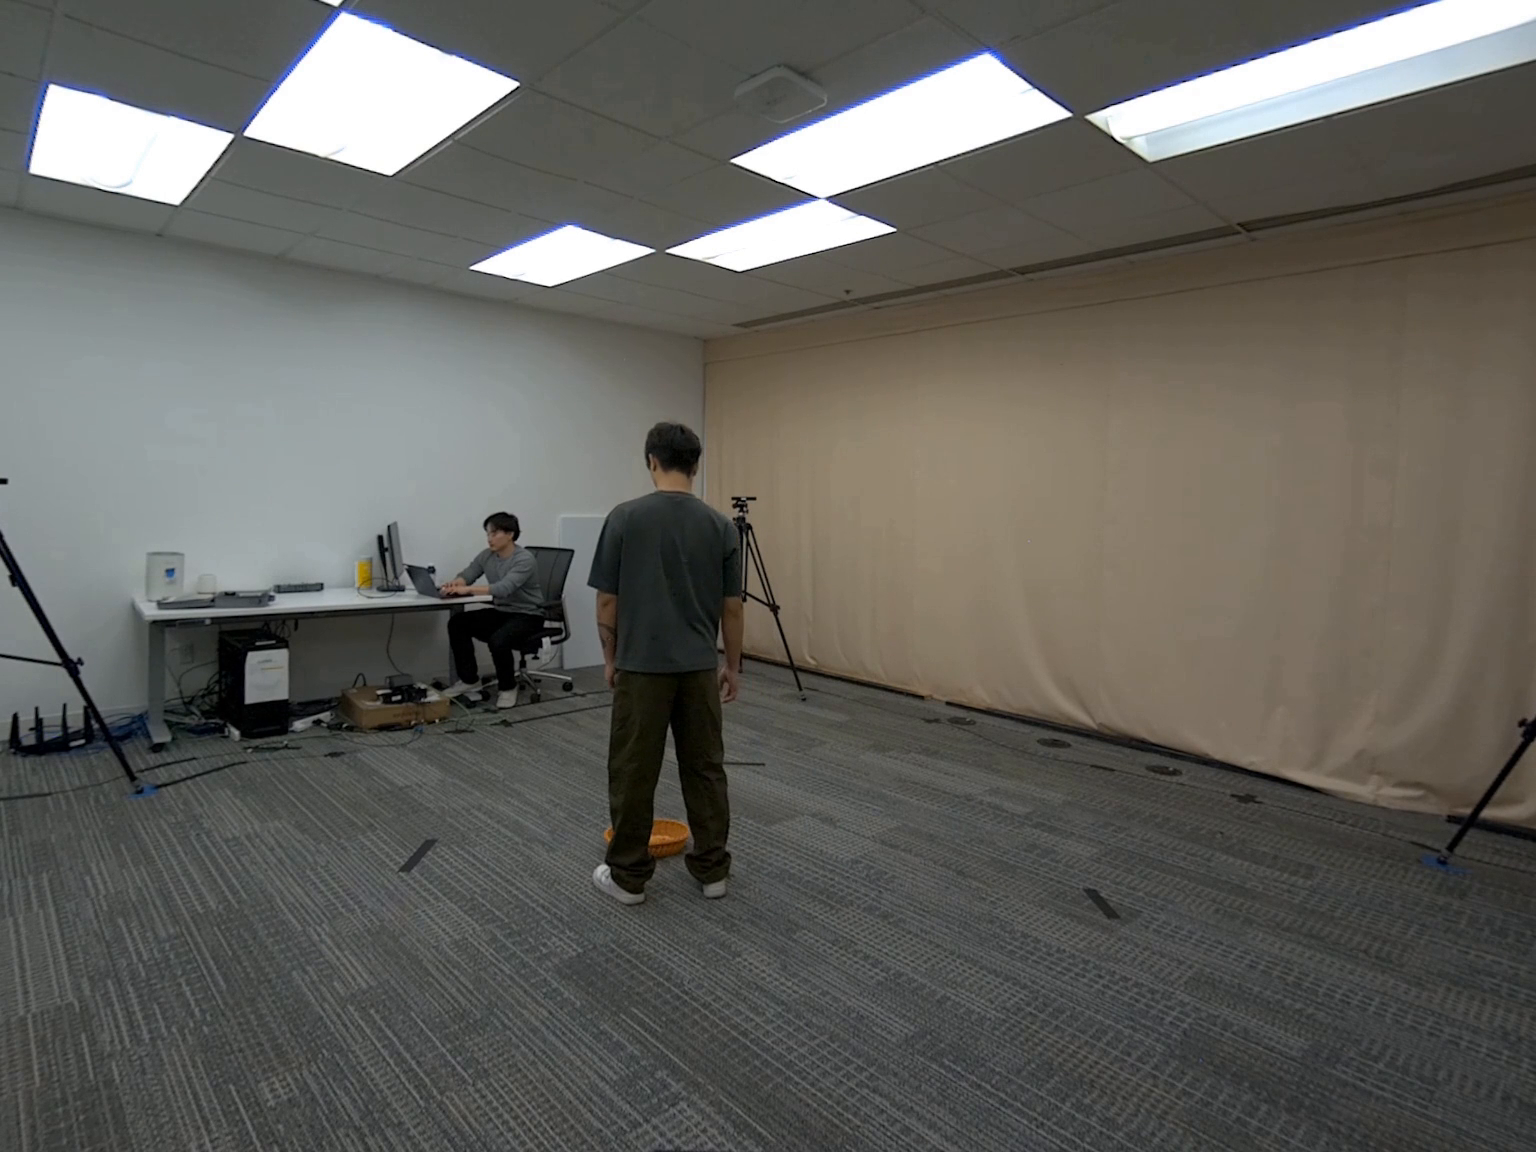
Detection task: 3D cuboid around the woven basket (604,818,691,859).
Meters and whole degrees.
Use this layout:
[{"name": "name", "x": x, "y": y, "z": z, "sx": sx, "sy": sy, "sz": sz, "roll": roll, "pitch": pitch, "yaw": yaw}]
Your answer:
[{"name": "woven basket", "x": -0.481, "y": 1.041, "z": 3.326, "sx": 0.345, "sy": 0.073, "sz": 0.257, "roll": 0, "pitch": 5, "yaw": -20}]
